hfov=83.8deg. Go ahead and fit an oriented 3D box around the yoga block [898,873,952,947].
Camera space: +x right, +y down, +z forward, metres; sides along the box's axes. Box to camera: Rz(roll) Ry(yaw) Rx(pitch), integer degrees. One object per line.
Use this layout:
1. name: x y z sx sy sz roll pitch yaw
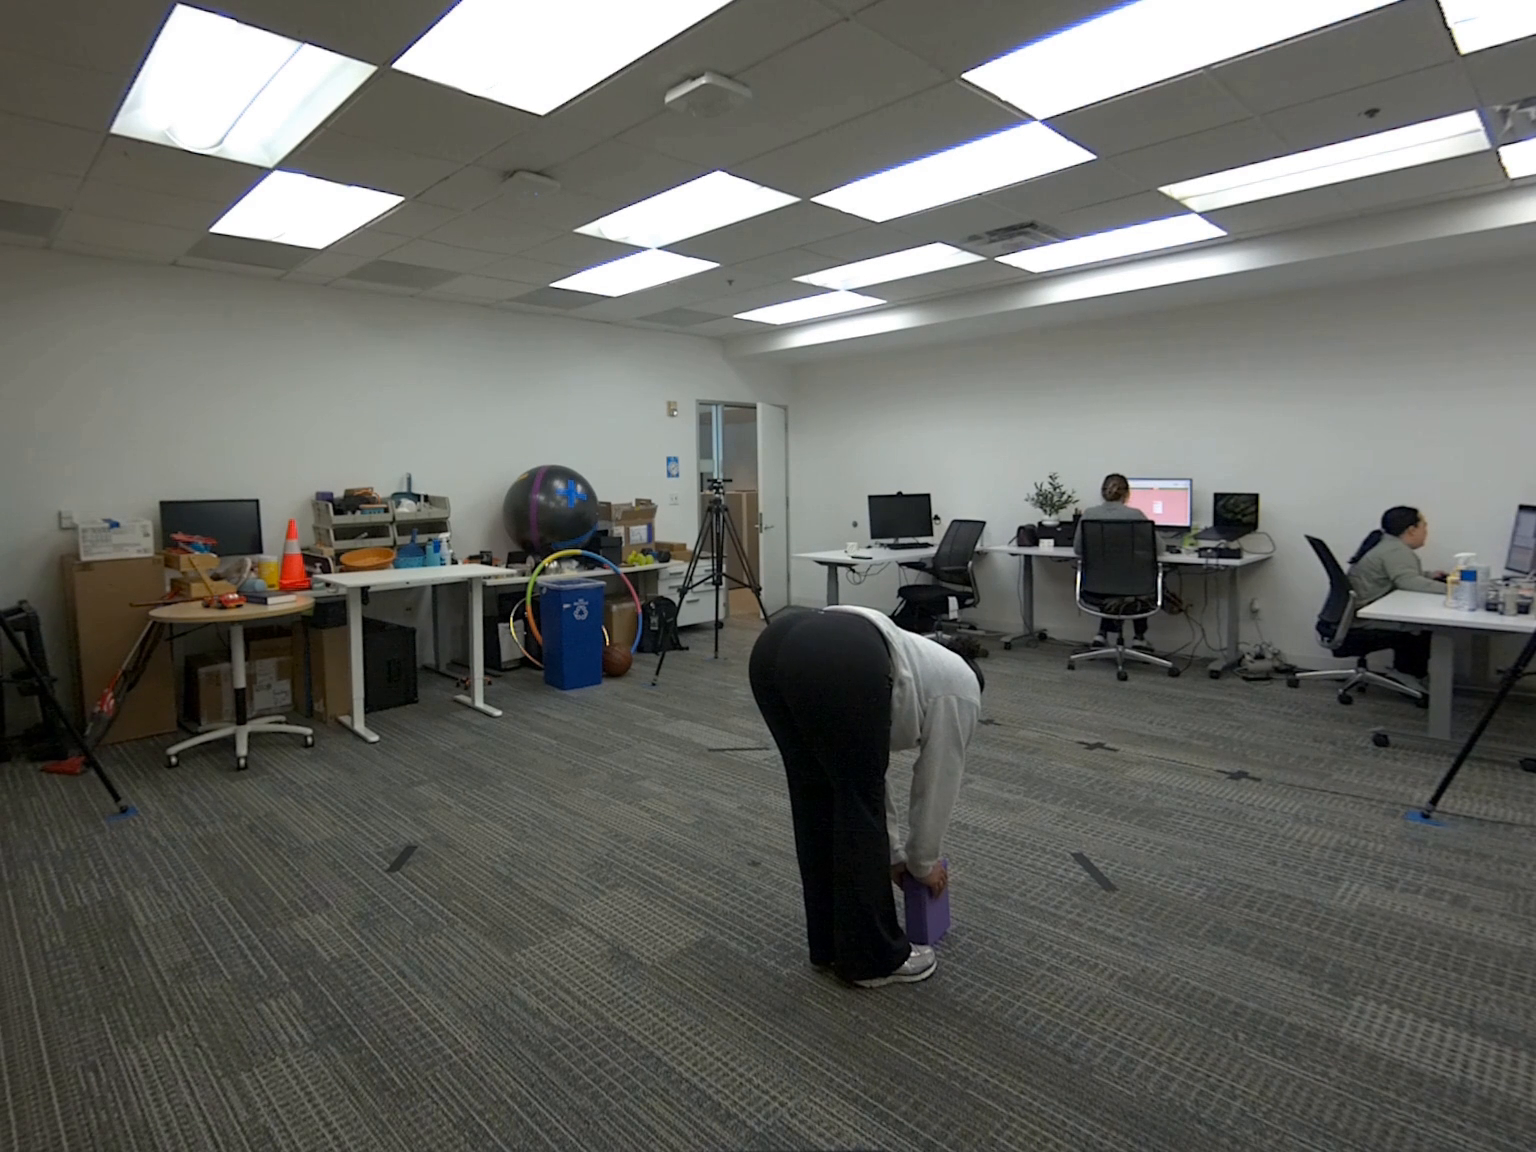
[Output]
1. yoga block: 0.481 0.976 2.577 0.079 0.227 0.145 4 11 41
